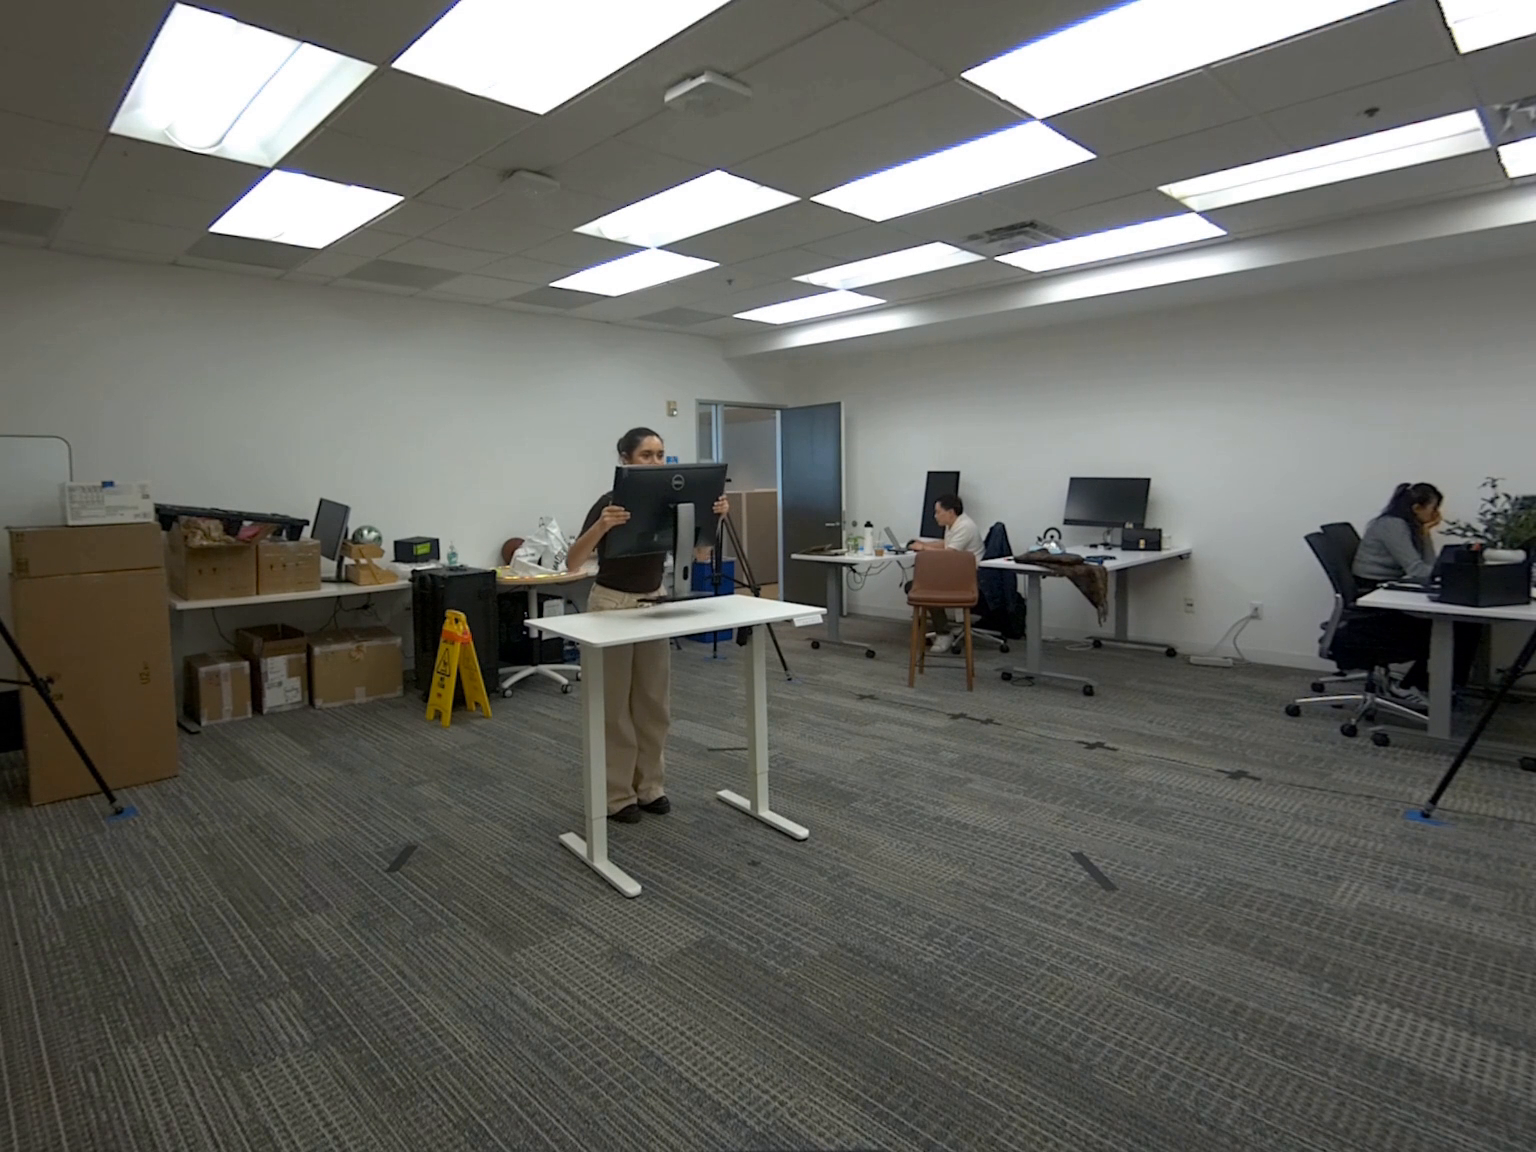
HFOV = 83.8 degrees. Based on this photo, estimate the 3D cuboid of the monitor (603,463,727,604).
[{"bbox_3d":[-0.351,-0.163,3.263,0.193,0.519,0.525,7,10,44],"label":"monitor"}]
